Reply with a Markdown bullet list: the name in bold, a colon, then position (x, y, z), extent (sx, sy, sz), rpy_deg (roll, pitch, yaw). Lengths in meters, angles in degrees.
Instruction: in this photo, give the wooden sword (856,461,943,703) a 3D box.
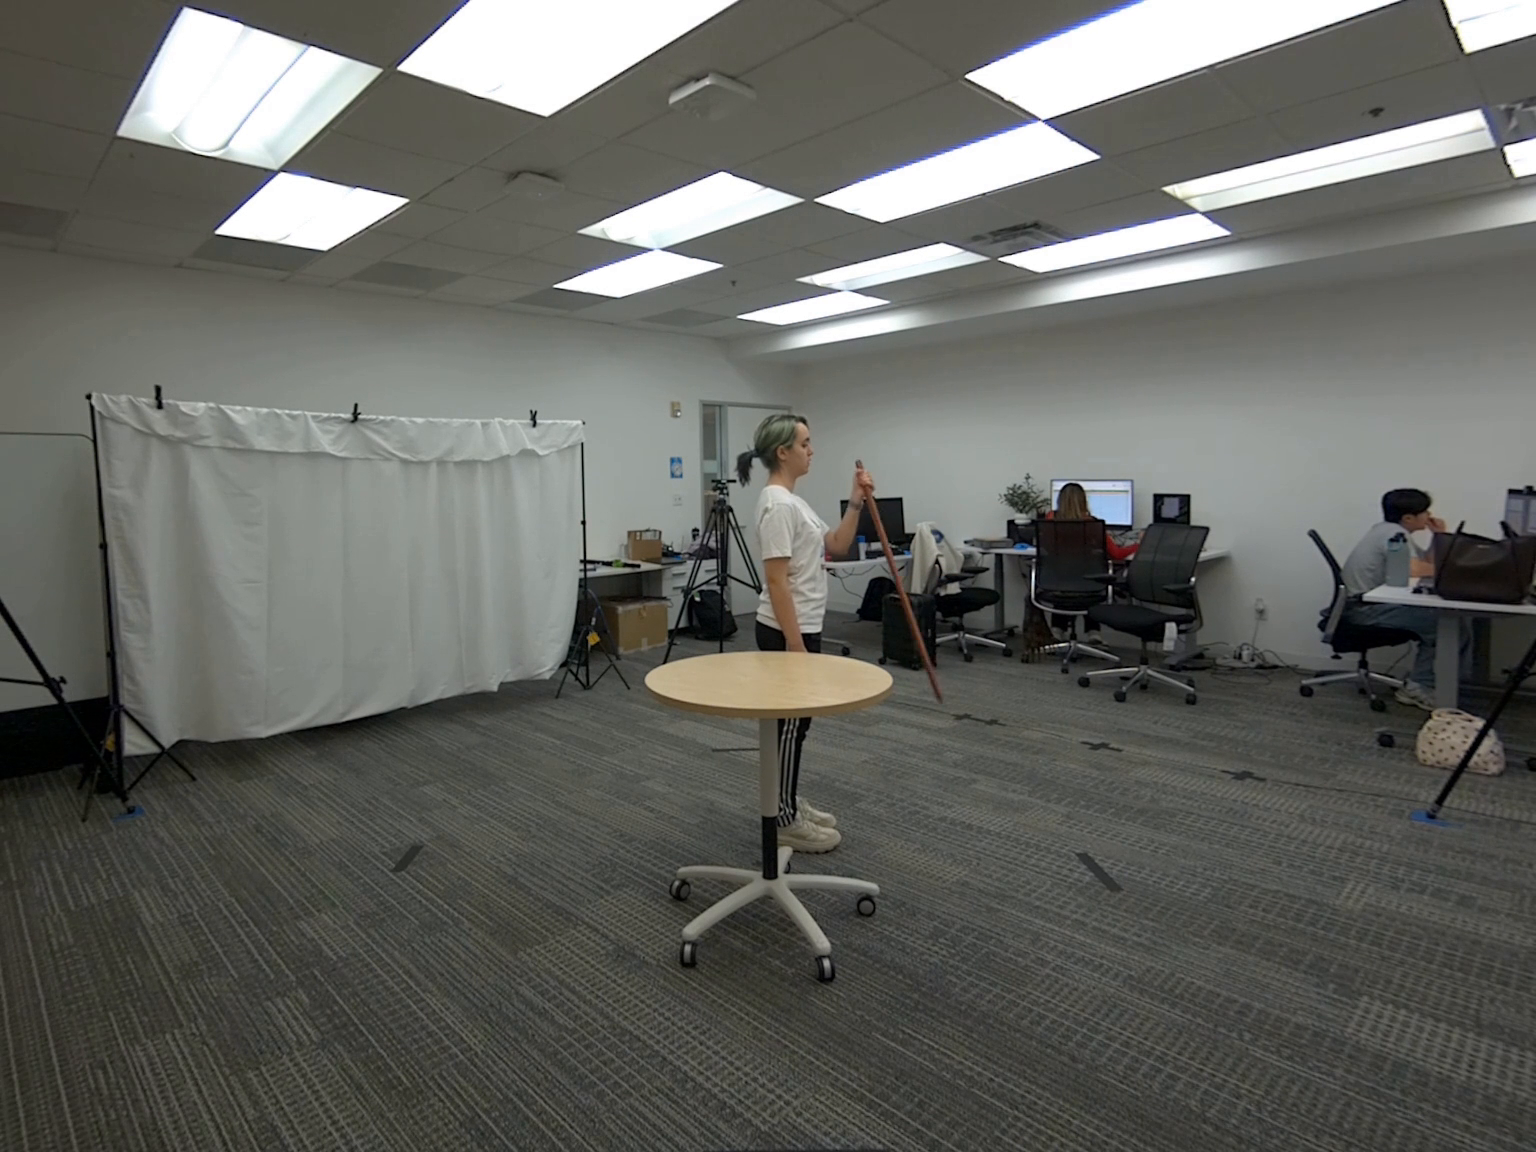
- **wooden sword**: position (0.471, -0.013, 3.137), extent (0.023, 1.055, 0.051), rpy_deg (14, -40, -38)
